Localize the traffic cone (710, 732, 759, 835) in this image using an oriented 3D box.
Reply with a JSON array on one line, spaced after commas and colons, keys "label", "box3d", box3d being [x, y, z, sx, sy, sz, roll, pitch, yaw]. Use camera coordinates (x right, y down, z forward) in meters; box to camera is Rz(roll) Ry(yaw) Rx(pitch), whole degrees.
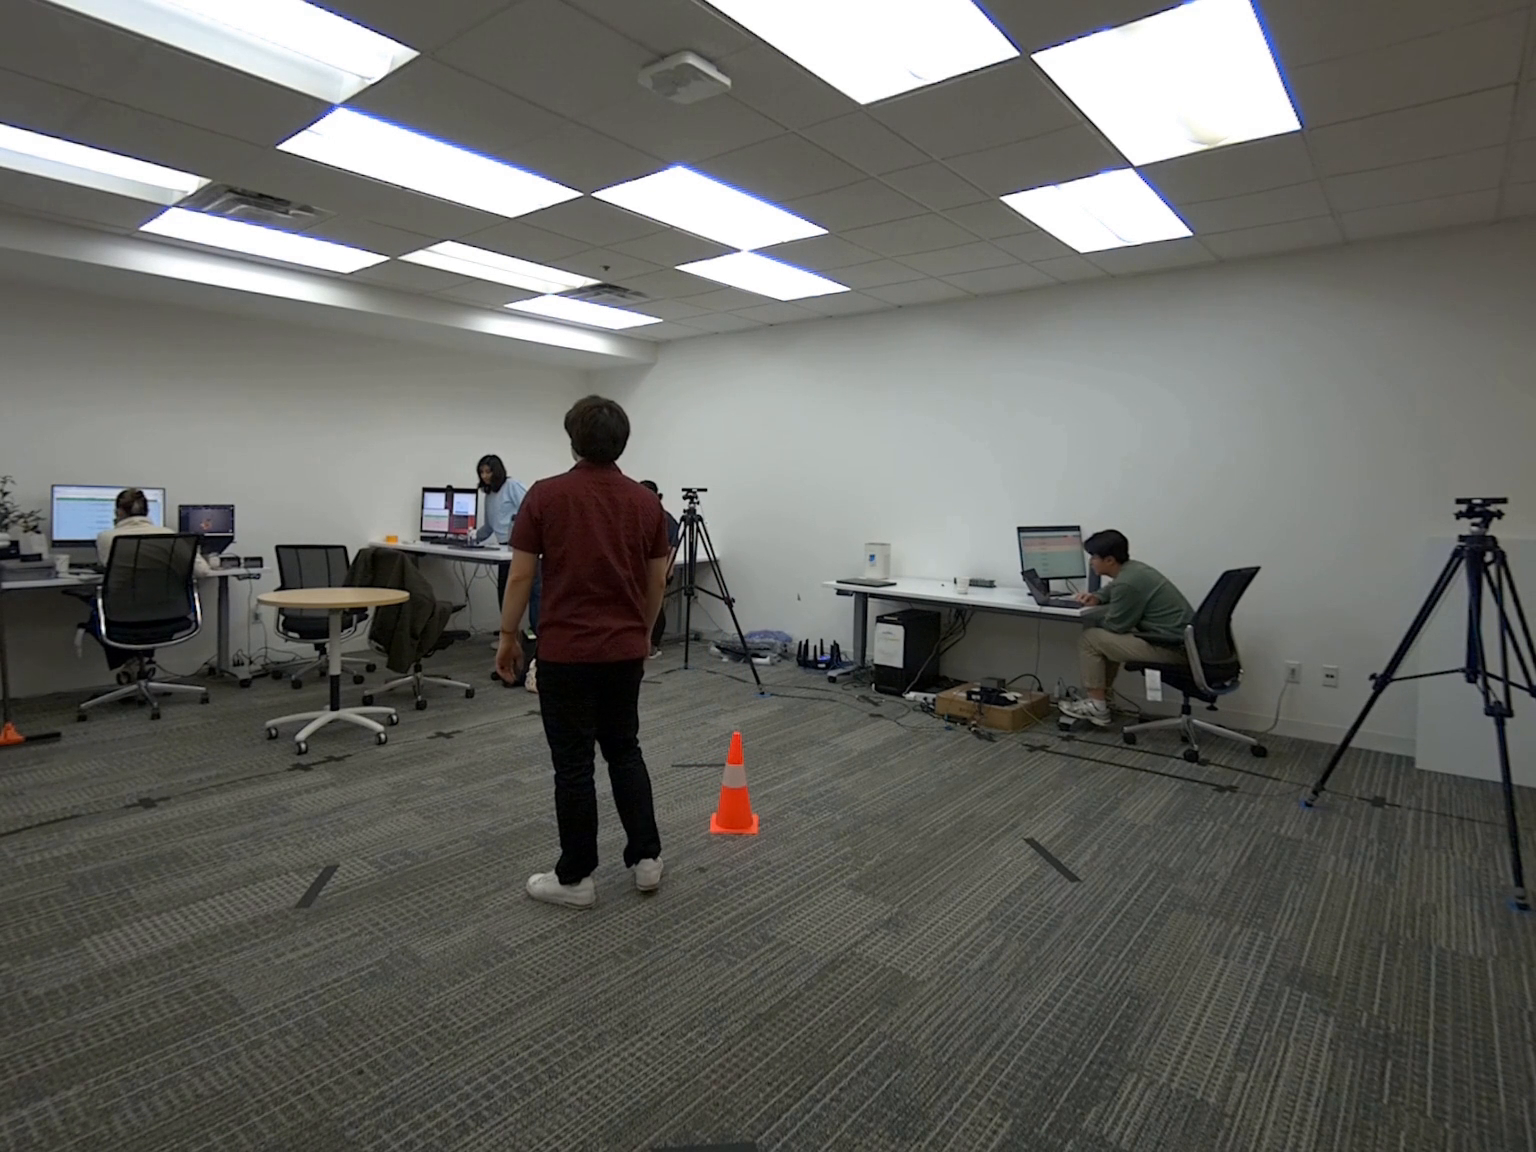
[{"label": "traffic cone", "box3d": [-0.150, 0.844, 3.545, 0.204, 0.383, 0.205, 2, 2, 2]}]
